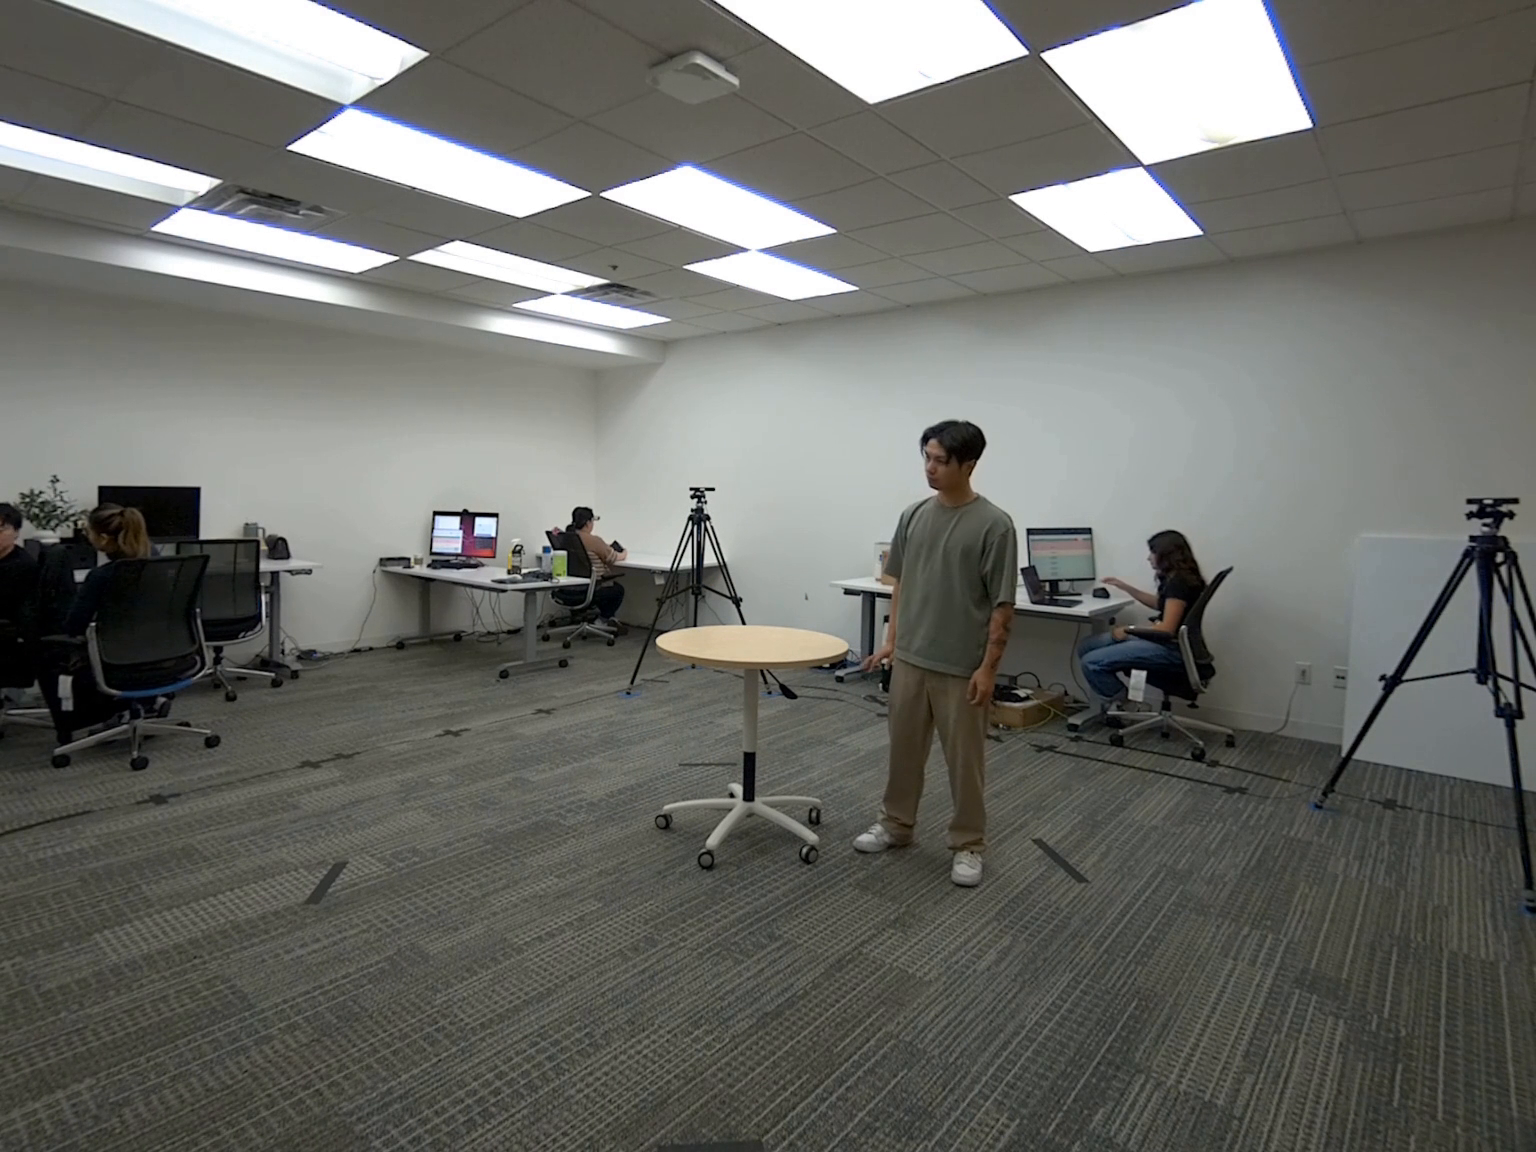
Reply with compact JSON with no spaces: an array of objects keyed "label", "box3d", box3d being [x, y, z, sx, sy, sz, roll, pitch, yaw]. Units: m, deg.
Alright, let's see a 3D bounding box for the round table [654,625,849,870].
[{"label":"round table","box3d":[-0.086,0.653,3.418,0.763,0.791,0.768,1,4,-2]}]
